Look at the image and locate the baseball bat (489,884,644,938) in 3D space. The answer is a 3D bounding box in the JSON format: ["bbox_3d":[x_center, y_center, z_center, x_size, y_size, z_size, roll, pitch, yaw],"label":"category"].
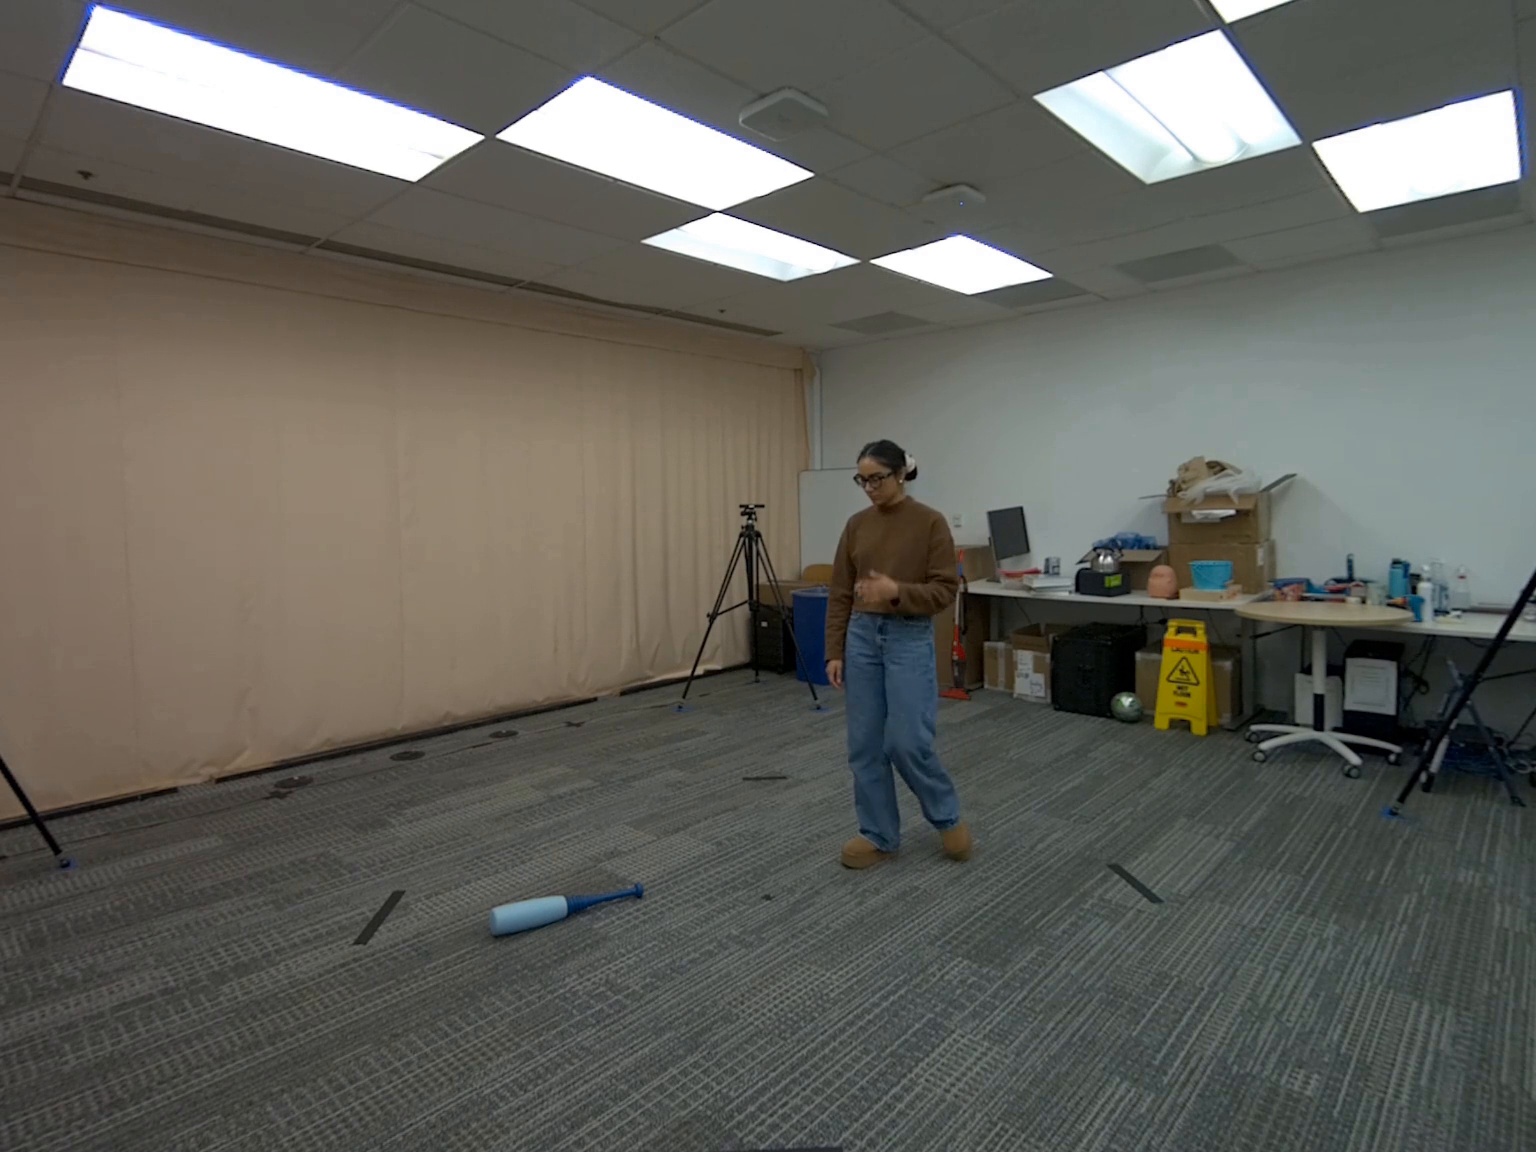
[{"bbox_3d":[-0.679,1.132,2.874,0.528,0.089,0.091,0,3,-30],"label":"baseball bat"}]
